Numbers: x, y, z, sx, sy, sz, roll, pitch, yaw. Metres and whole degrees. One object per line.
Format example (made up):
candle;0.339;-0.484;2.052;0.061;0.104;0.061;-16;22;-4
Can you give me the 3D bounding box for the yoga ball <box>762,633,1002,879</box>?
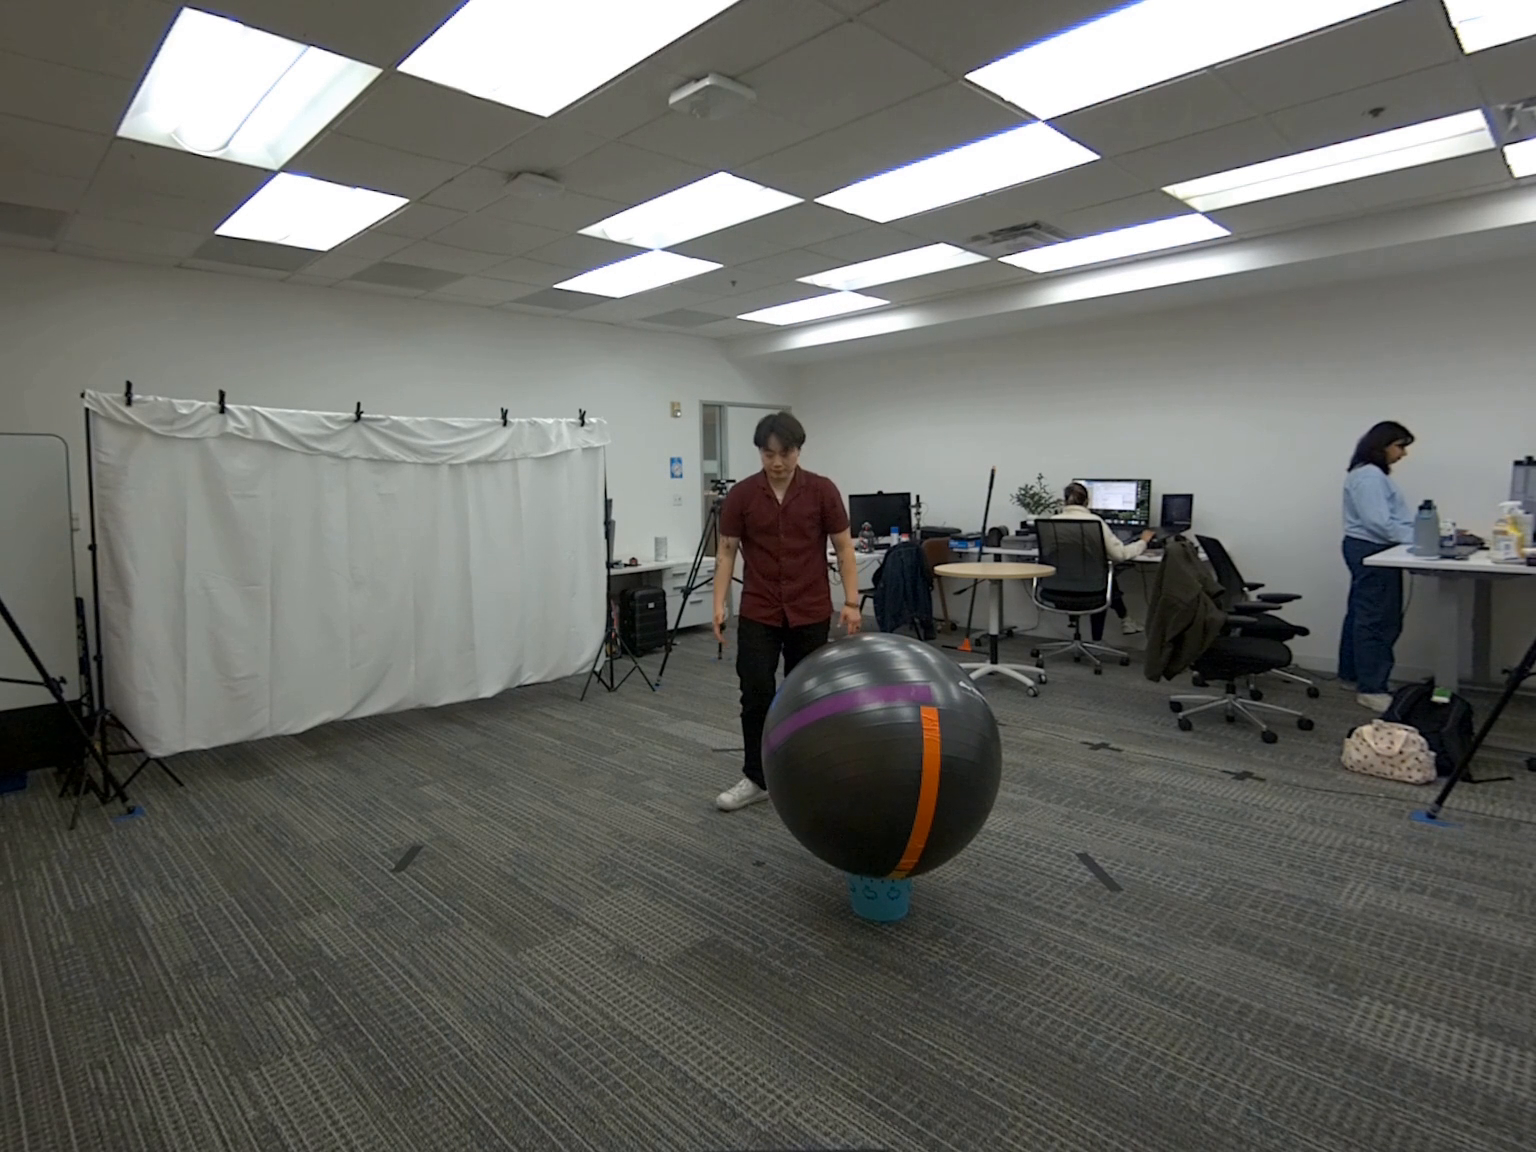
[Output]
yoga ball;0.361;0.577;2.743;0.757;0.755;0.762;-1;5;-2
